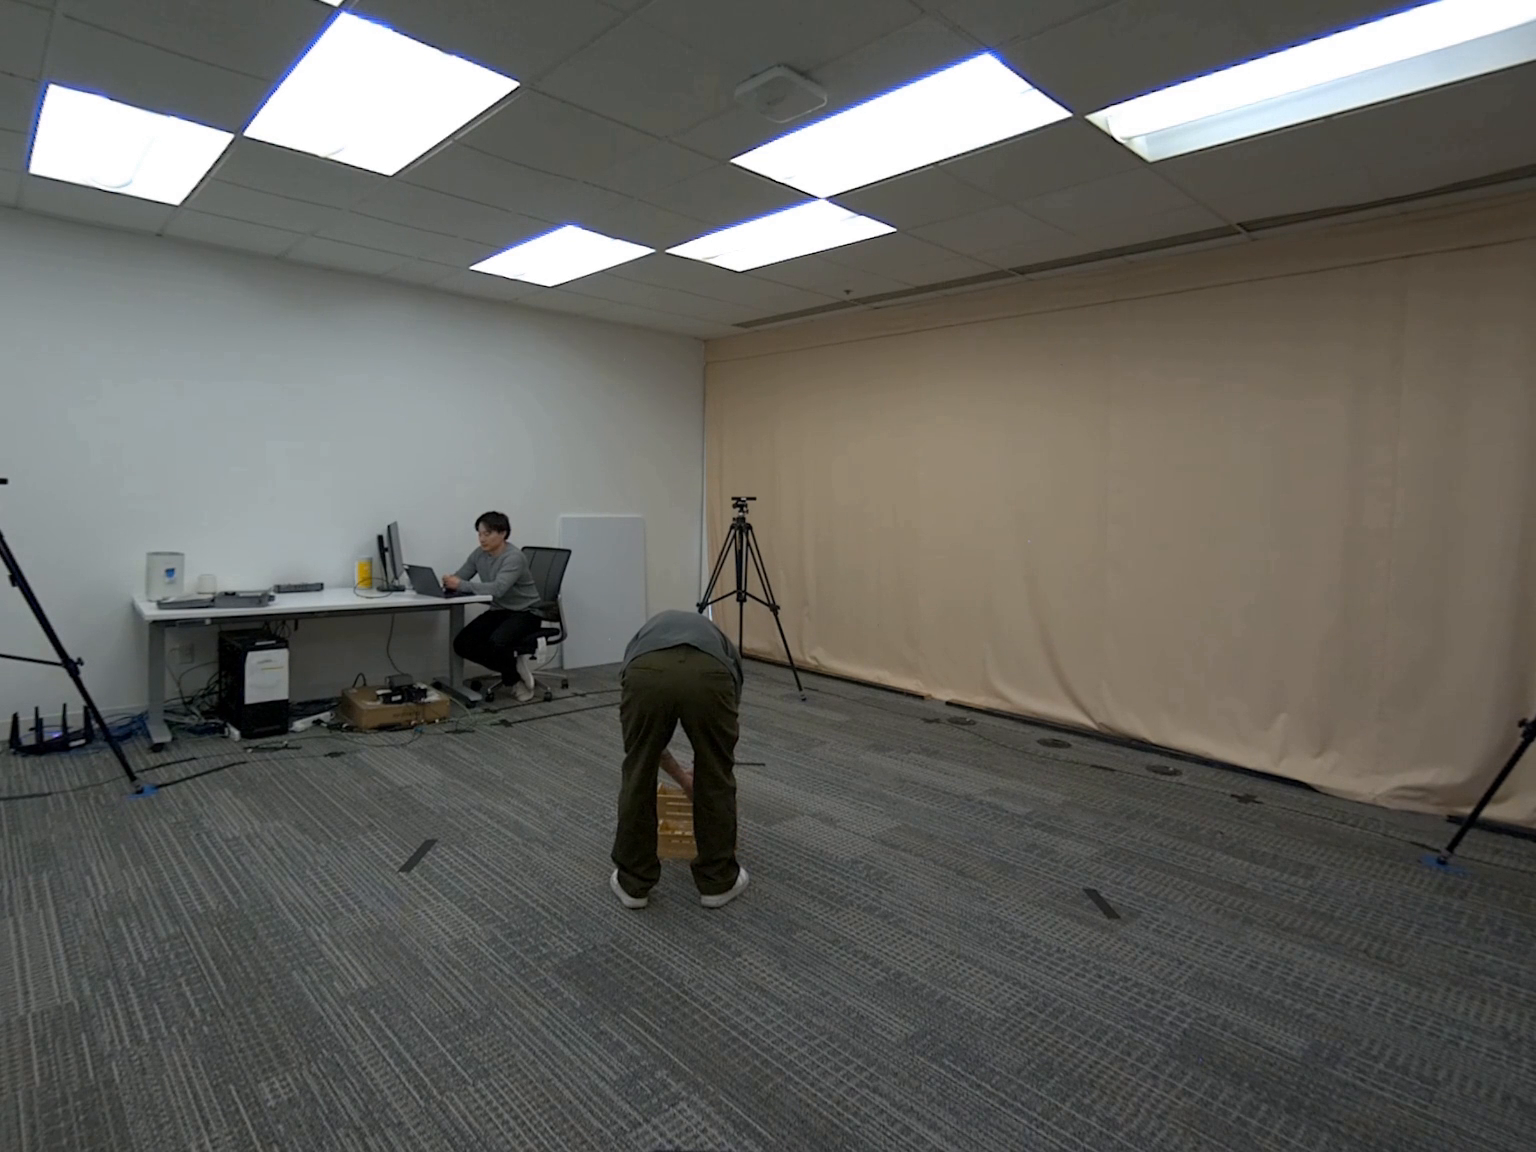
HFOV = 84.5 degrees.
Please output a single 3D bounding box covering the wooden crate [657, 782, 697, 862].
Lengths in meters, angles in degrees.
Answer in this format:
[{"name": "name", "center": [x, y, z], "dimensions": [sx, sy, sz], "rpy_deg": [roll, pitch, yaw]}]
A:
[{"name": "wooden crate", "center": [-0.289, 0.954, 3.343], "dimensions": [0.325, 0.272, 0.302], "rpy_deg": [2, 4, 1]}]
